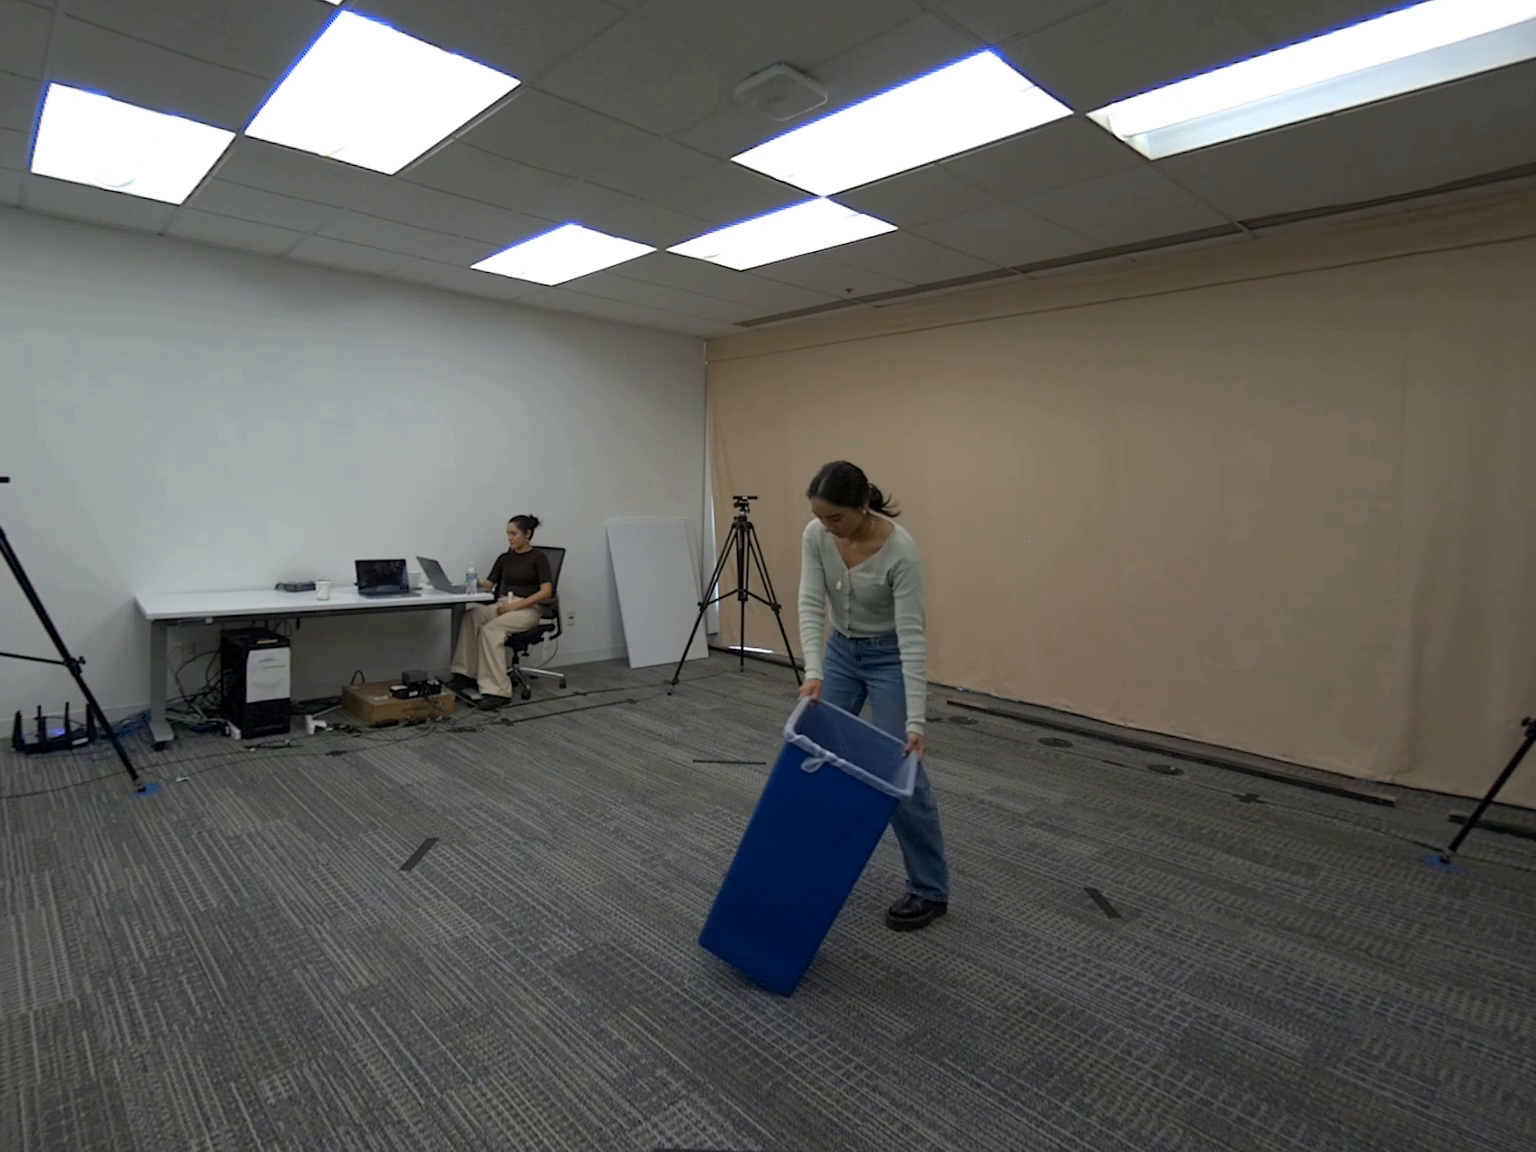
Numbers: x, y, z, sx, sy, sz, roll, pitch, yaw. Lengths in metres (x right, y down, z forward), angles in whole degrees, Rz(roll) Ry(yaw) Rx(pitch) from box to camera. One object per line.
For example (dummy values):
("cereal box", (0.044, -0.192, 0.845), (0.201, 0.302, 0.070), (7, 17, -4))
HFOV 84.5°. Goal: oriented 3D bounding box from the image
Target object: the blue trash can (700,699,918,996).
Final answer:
("blue trash can", (0.094, 0.779, 2.440), (0.382, 0.710, 0.371), (26, 13, 10))
